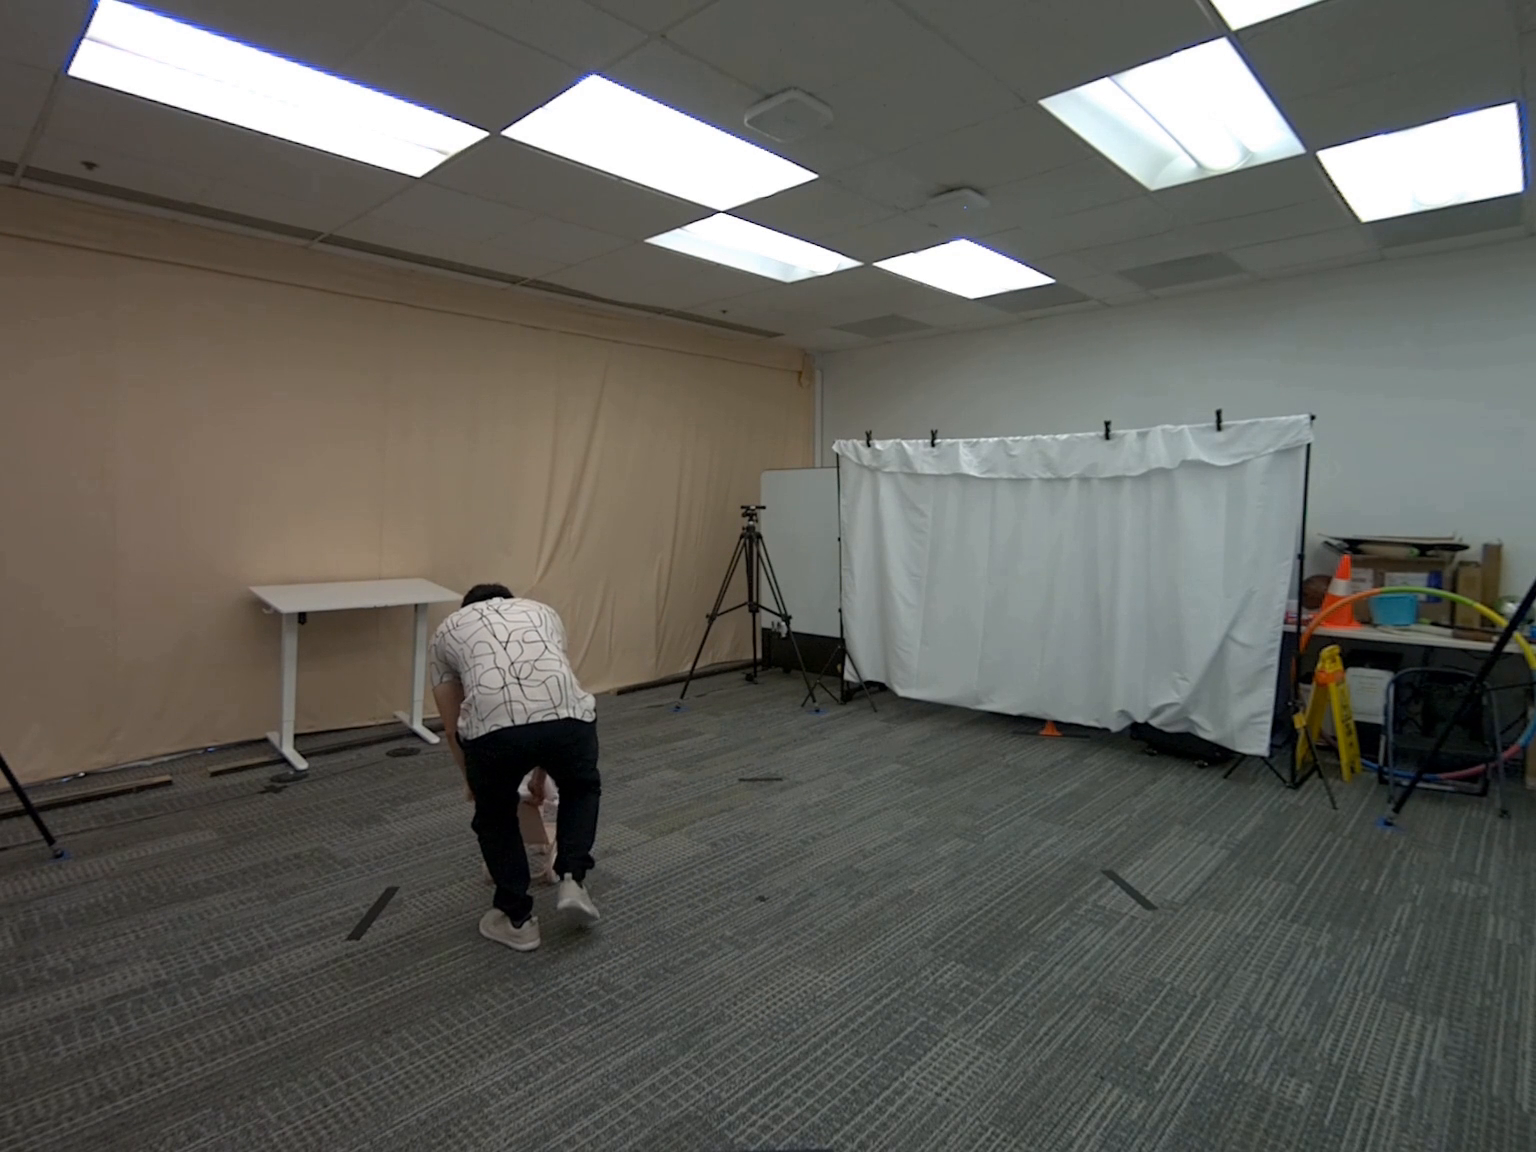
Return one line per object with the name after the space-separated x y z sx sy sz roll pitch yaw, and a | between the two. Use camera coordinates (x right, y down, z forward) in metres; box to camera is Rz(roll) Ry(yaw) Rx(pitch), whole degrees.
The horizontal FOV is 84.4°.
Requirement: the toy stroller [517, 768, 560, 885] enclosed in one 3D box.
-0.905 0.916 3.182 0.284 0.527 0.343 1 23 8 | toy stroller
